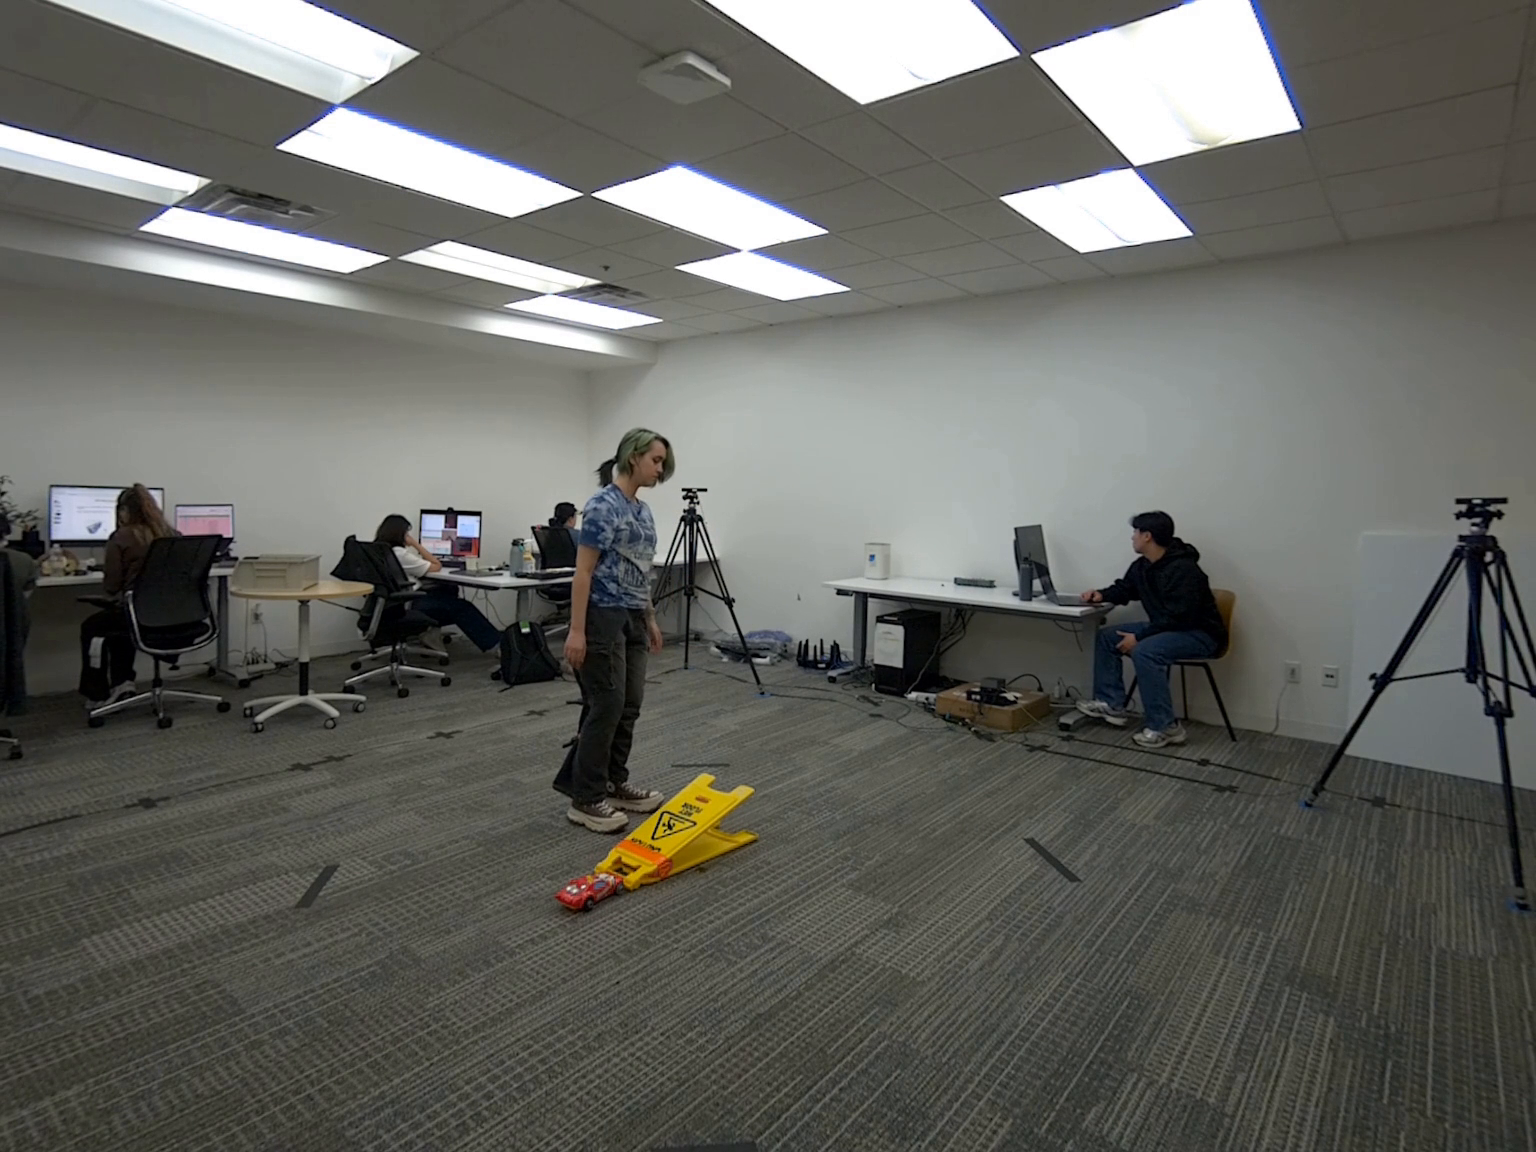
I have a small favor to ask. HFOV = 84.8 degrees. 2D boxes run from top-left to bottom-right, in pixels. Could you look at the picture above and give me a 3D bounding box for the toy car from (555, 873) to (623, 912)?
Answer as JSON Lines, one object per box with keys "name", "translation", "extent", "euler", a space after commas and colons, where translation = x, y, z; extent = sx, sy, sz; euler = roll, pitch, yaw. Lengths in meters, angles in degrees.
{"name": "toy car", "translation": [-0.609, 1.051, 2.858], "extent": [0.134, 0.083, 0.245], "euler": [4, -4, 36]}
